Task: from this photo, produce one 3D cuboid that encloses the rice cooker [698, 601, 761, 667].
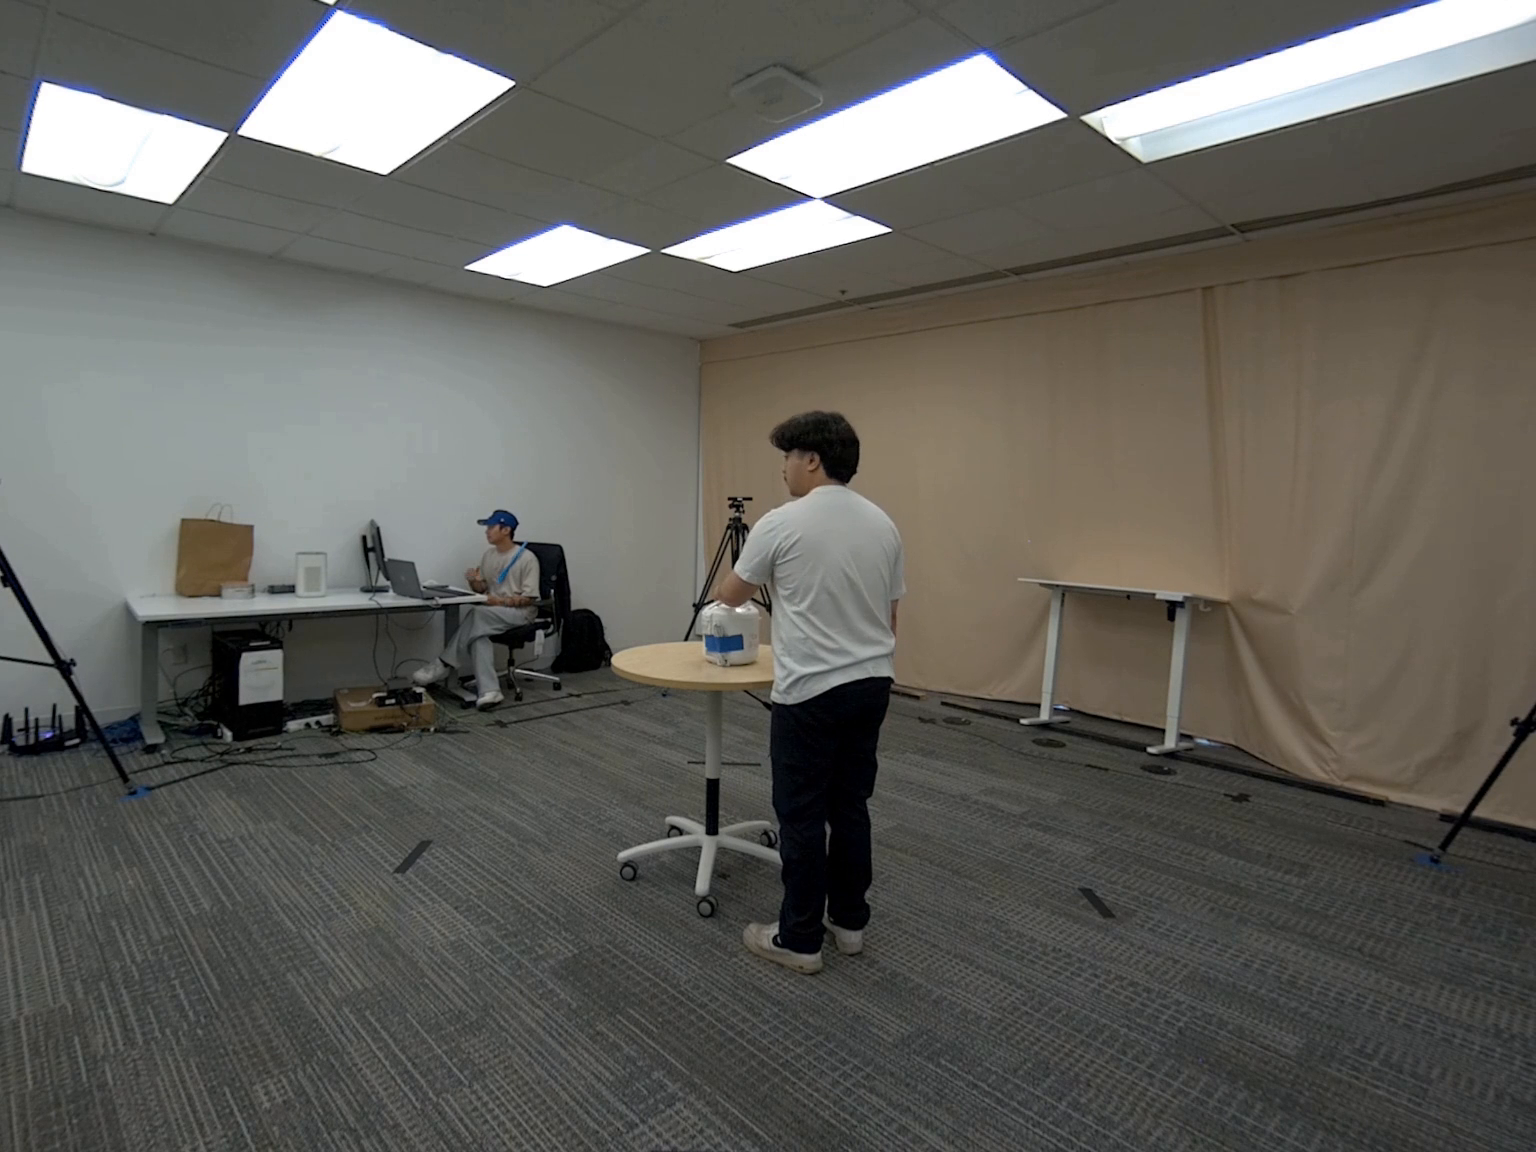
[{"bbox_3d":[-0.149,0.193,3.079,0.216,0.232,0.222,-1,6,-28],"label":"rice cooker"}]
